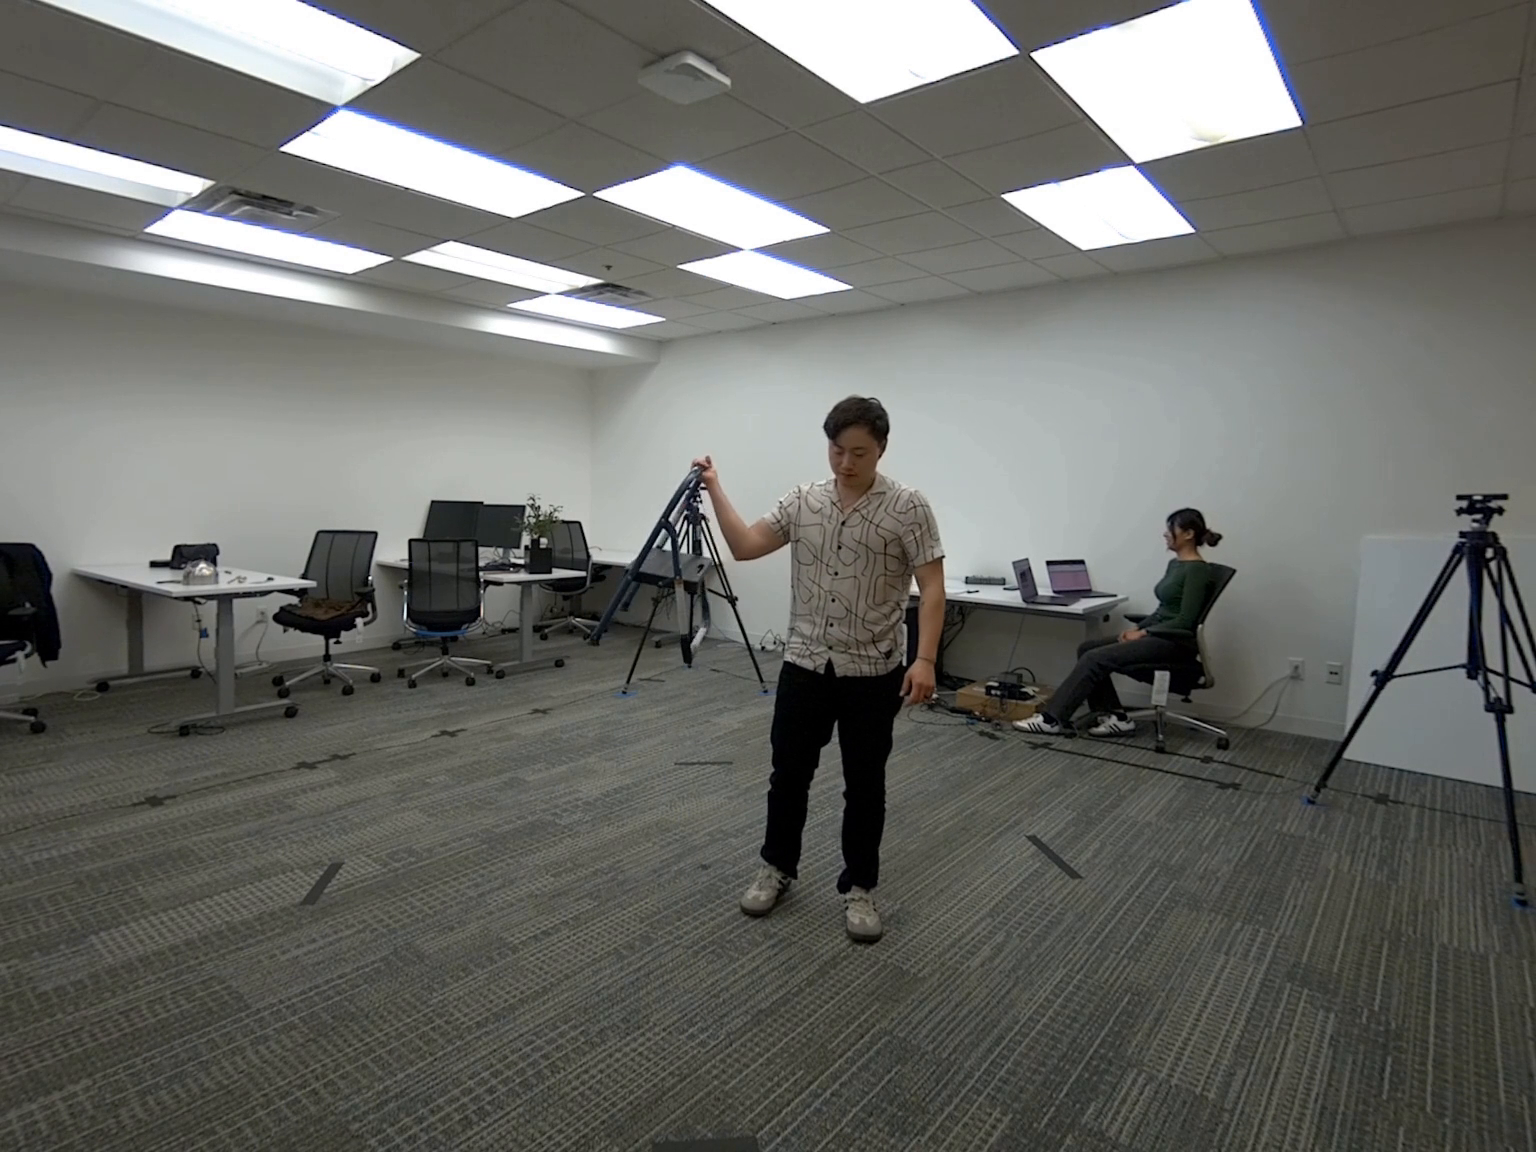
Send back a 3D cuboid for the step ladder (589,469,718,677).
[{"bbox_3d":[-0.333,-0.077,2.822,0.349,0.600,0.436,8,13,-2],"label":"step ladder"}]
